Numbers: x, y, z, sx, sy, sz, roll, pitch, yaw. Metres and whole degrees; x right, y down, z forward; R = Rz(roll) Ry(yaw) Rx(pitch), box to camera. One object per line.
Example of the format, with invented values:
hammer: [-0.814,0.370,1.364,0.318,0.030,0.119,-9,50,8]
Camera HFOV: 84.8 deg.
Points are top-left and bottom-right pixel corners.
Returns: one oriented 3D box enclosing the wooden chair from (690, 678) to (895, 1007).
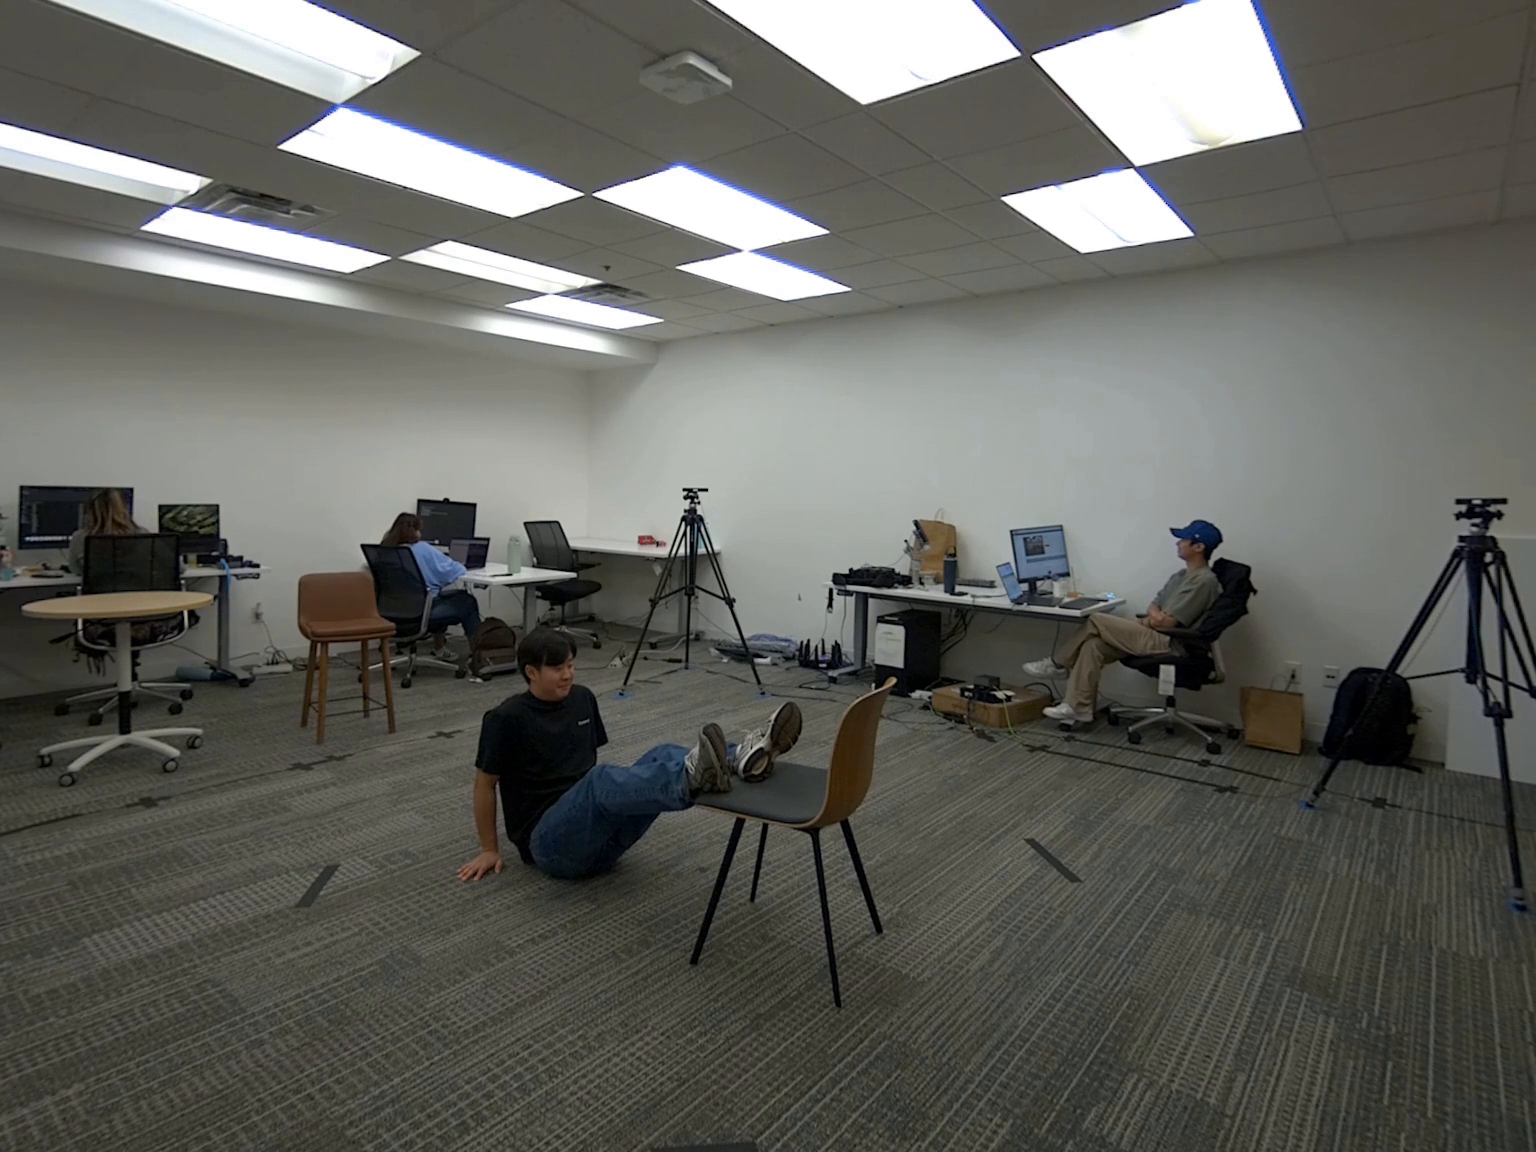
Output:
wooden chair: [0.068,0.701,2.564,0.537,0.874,0.467,8,5,24]
